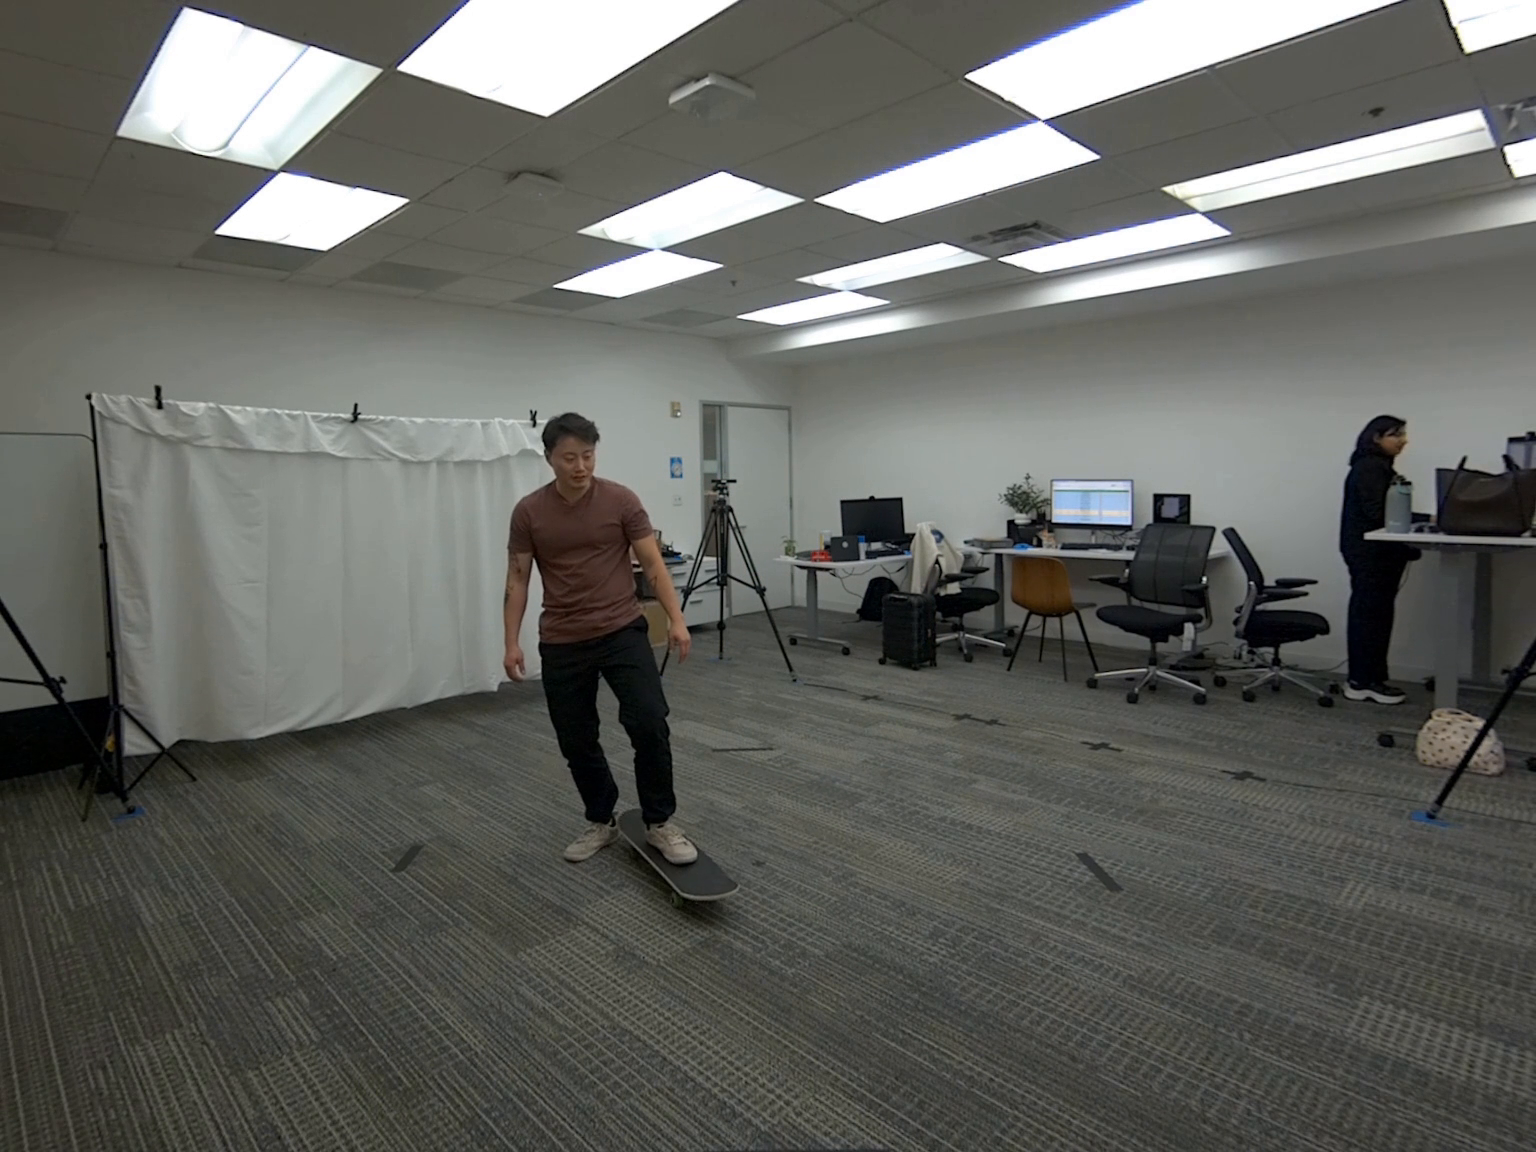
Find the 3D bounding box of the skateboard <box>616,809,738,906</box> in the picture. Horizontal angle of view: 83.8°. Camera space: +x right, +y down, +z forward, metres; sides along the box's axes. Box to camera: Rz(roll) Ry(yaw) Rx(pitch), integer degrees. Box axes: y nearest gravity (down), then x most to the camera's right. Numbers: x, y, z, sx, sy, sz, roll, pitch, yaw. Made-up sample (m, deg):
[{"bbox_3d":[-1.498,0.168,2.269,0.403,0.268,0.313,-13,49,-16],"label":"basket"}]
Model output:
[{"bbox_3d":[-0.337,1.014,3.002,0.189,0.110,0.807,-5,7,-28],"label":"skateboard"}]
